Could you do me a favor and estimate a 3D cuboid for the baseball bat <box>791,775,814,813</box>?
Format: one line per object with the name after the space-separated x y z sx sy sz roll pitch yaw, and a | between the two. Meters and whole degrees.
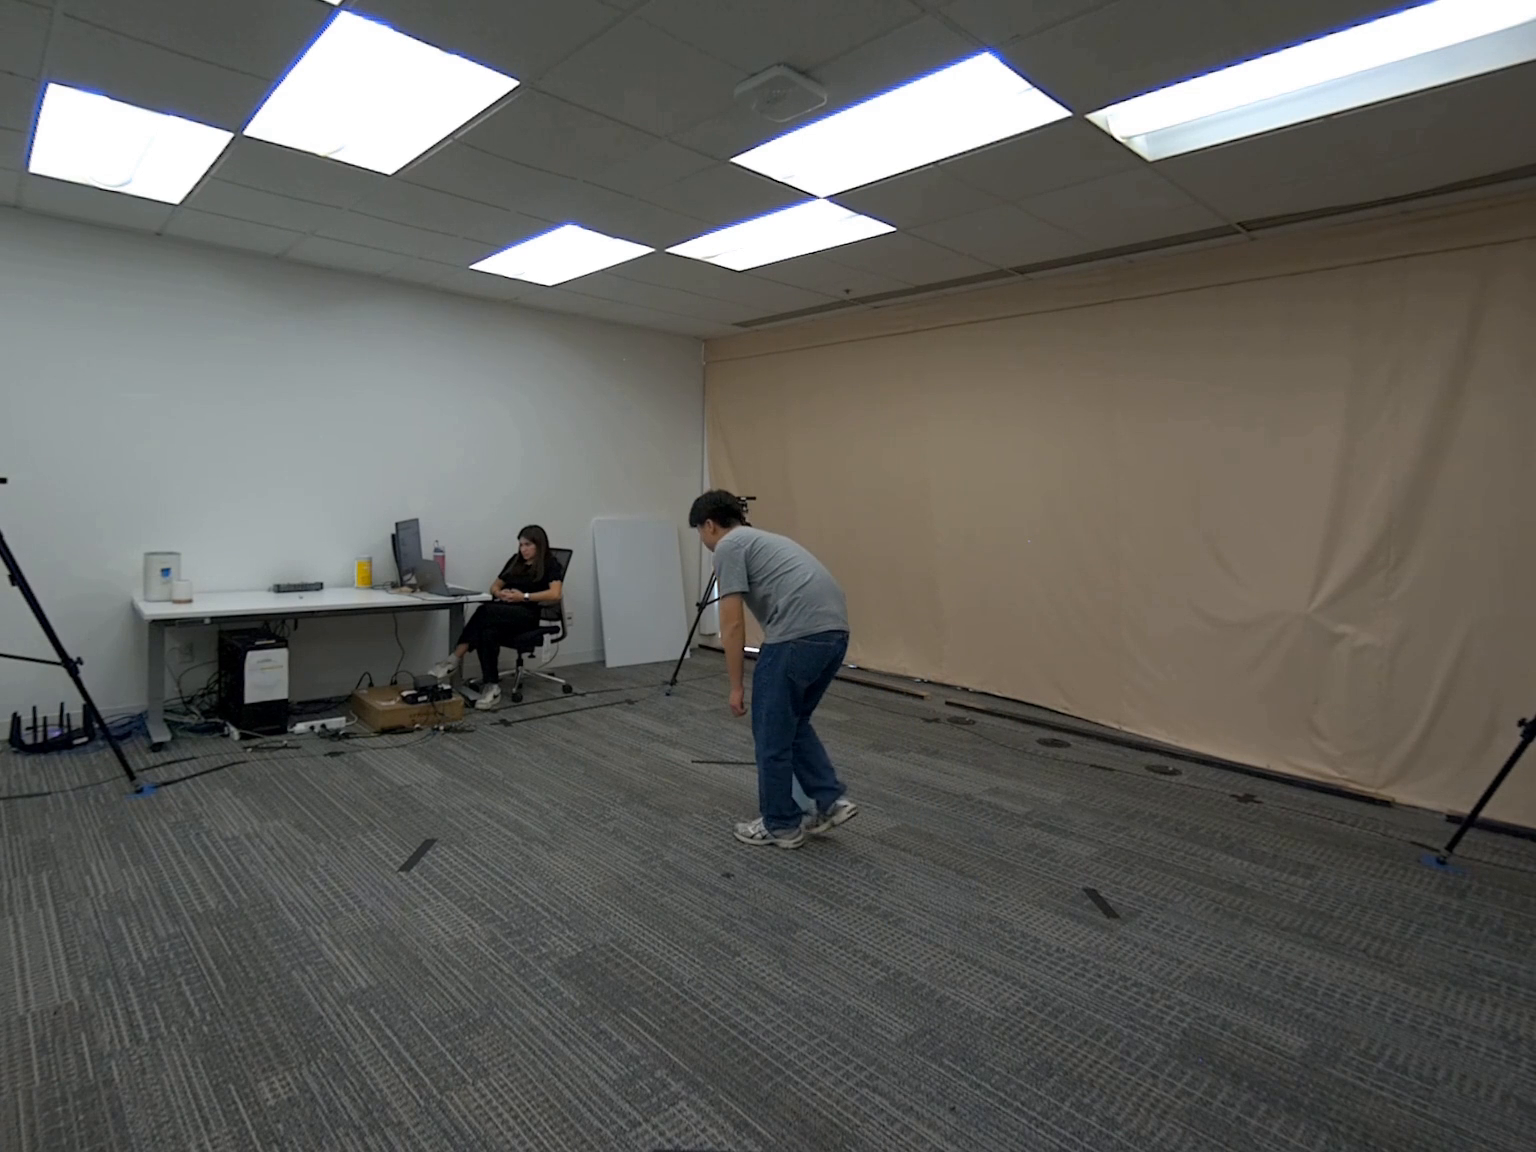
0.088 0.797 3.794 0.089 0.548 0.088 -12 -10 -3 | baseball bat
